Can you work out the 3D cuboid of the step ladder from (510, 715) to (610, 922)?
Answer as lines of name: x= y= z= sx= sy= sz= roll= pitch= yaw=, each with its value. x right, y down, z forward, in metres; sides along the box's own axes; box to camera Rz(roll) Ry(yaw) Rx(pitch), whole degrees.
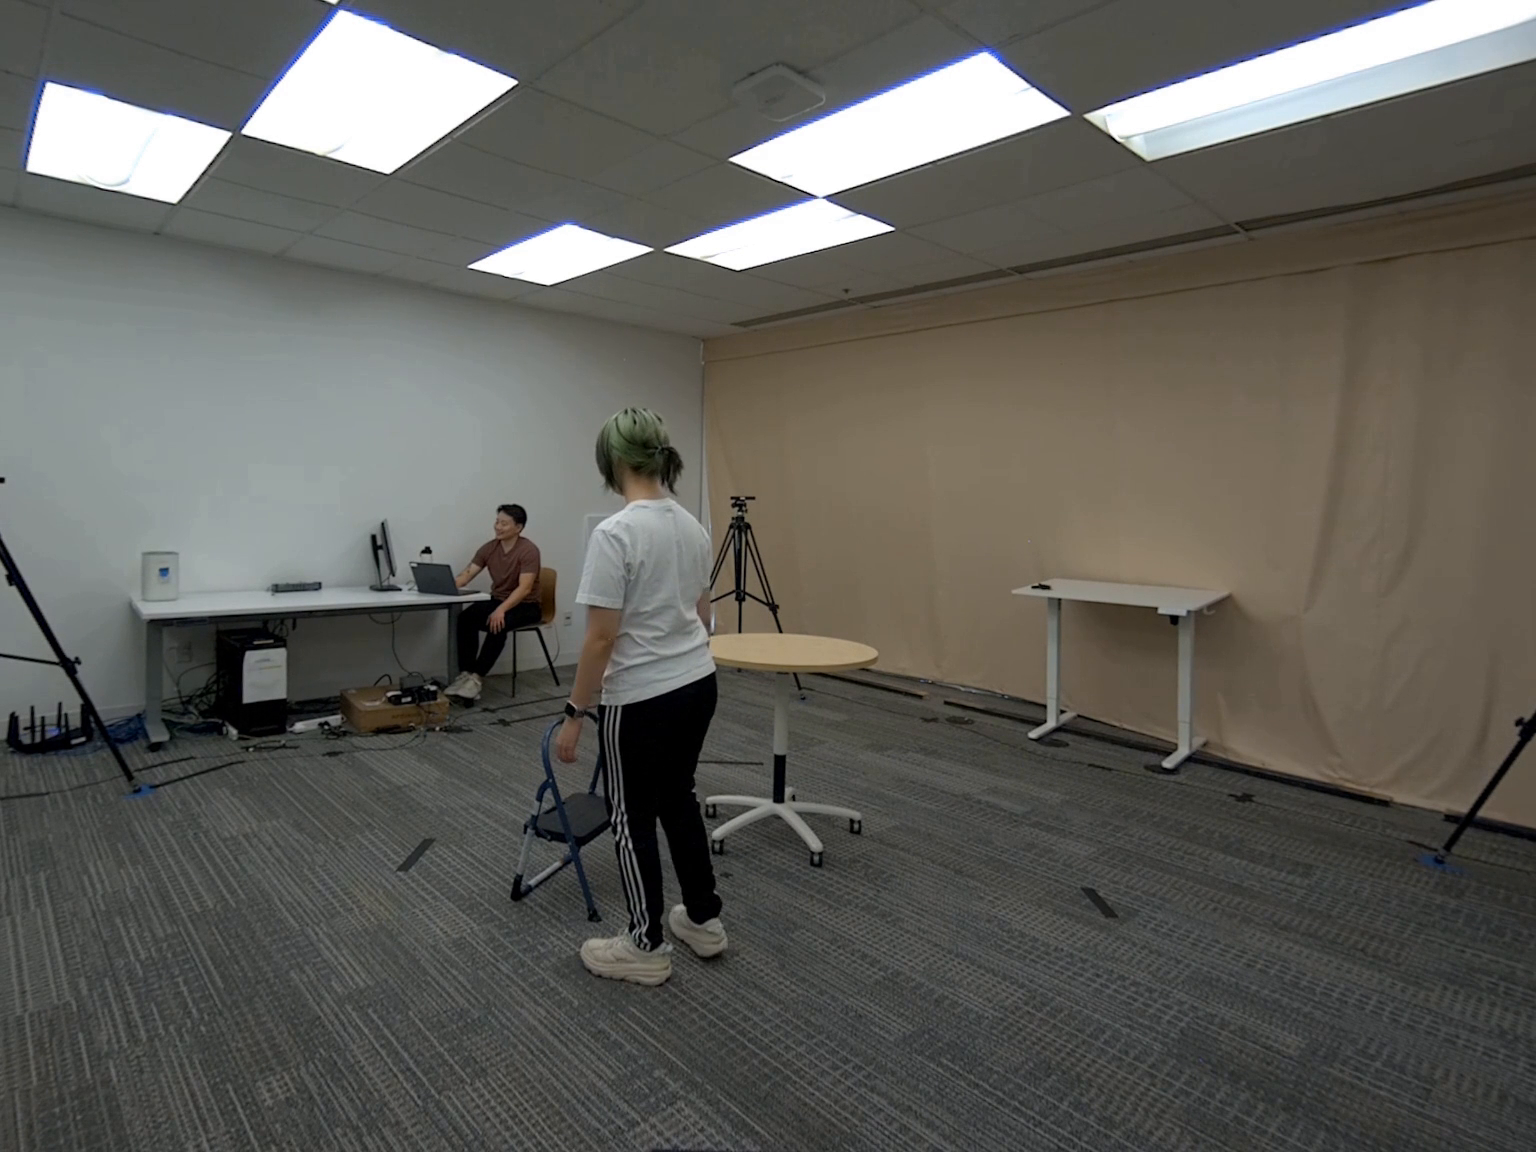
step ladder: x=-0.649 y=0.802 z=2.982 sx=0.355 sy=0.604 sz=0.425 roll=3 pitch=4 yaw=19
